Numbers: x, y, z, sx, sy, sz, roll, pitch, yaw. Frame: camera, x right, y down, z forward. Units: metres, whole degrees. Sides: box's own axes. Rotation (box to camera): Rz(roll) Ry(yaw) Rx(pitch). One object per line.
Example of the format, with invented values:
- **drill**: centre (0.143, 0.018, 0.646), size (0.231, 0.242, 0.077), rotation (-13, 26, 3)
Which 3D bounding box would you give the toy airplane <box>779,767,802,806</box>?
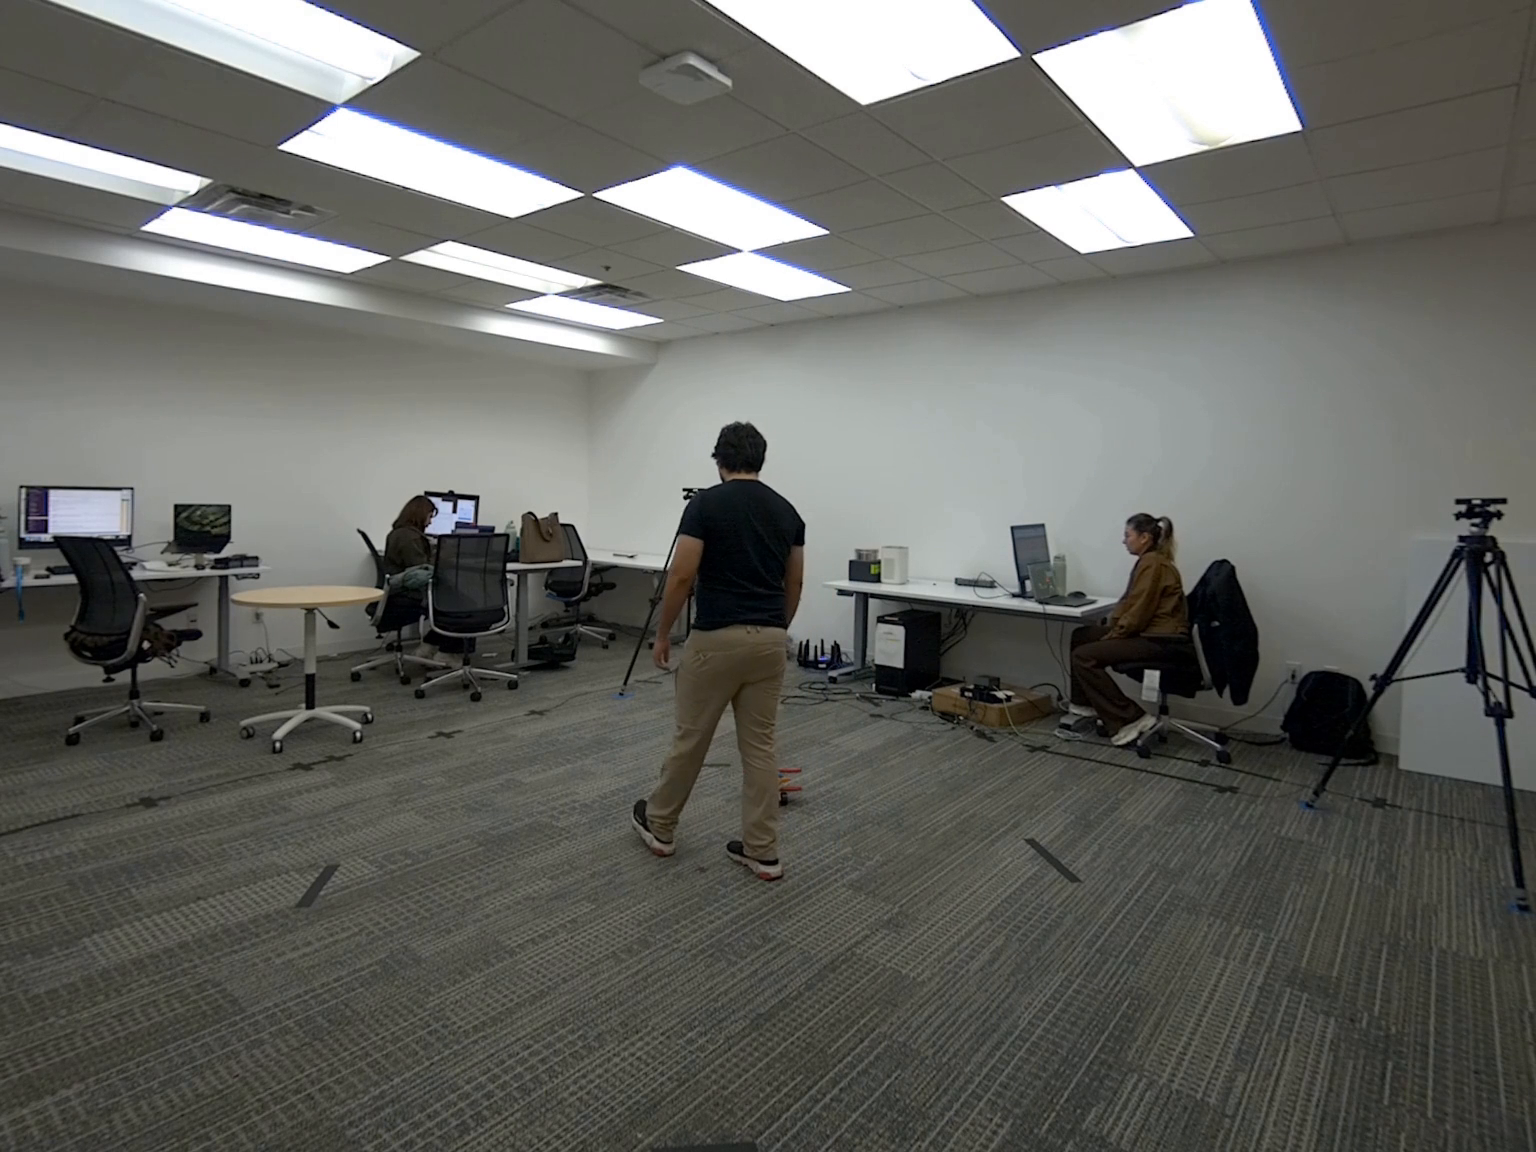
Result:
- **toy airplane**: centre (-0.008, 0.920, 3.847), size (0.244, 0.156, 0.268), rotation (-2, 7, -35)
